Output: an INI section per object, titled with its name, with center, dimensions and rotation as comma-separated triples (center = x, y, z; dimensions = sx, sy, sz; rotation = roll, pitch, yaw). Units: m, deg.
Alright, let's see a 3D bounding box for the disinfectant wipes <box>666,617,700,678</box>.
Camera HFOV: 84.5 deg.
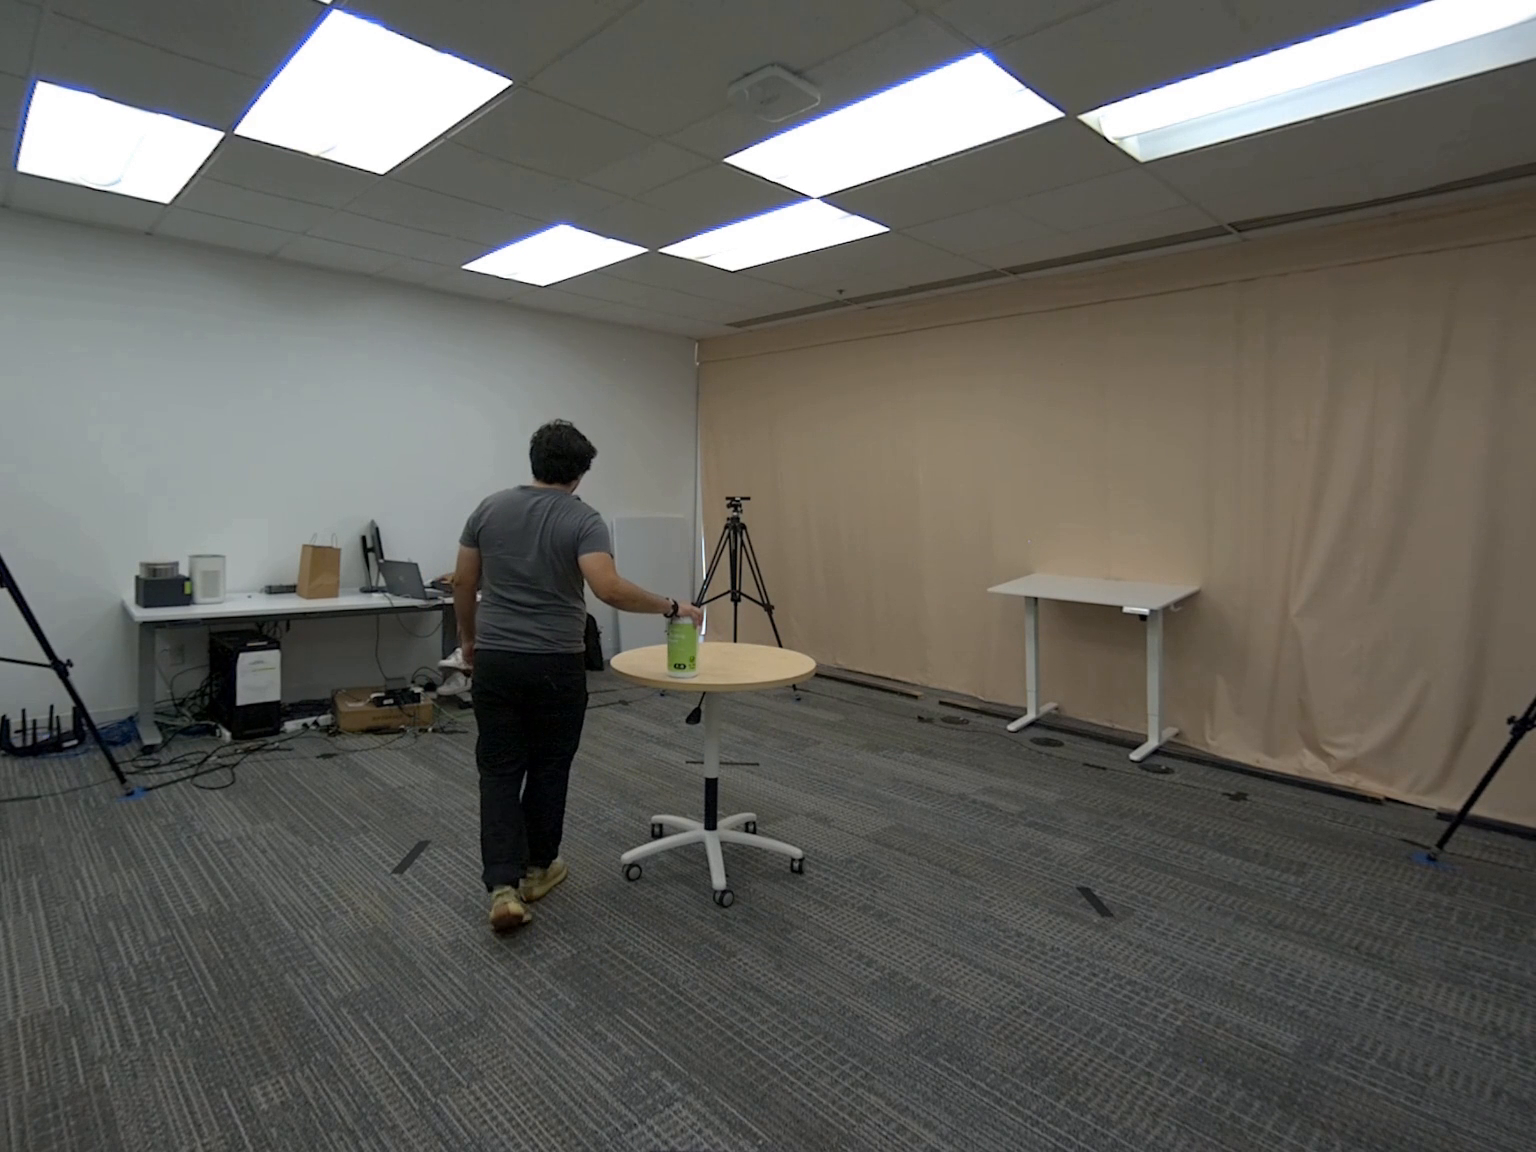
[disinfectant wipes]
center = -0.299, 0.236, 2.888
dimensions = 0.118, 0.216, 0.118
rotation = 0, 6, -1
